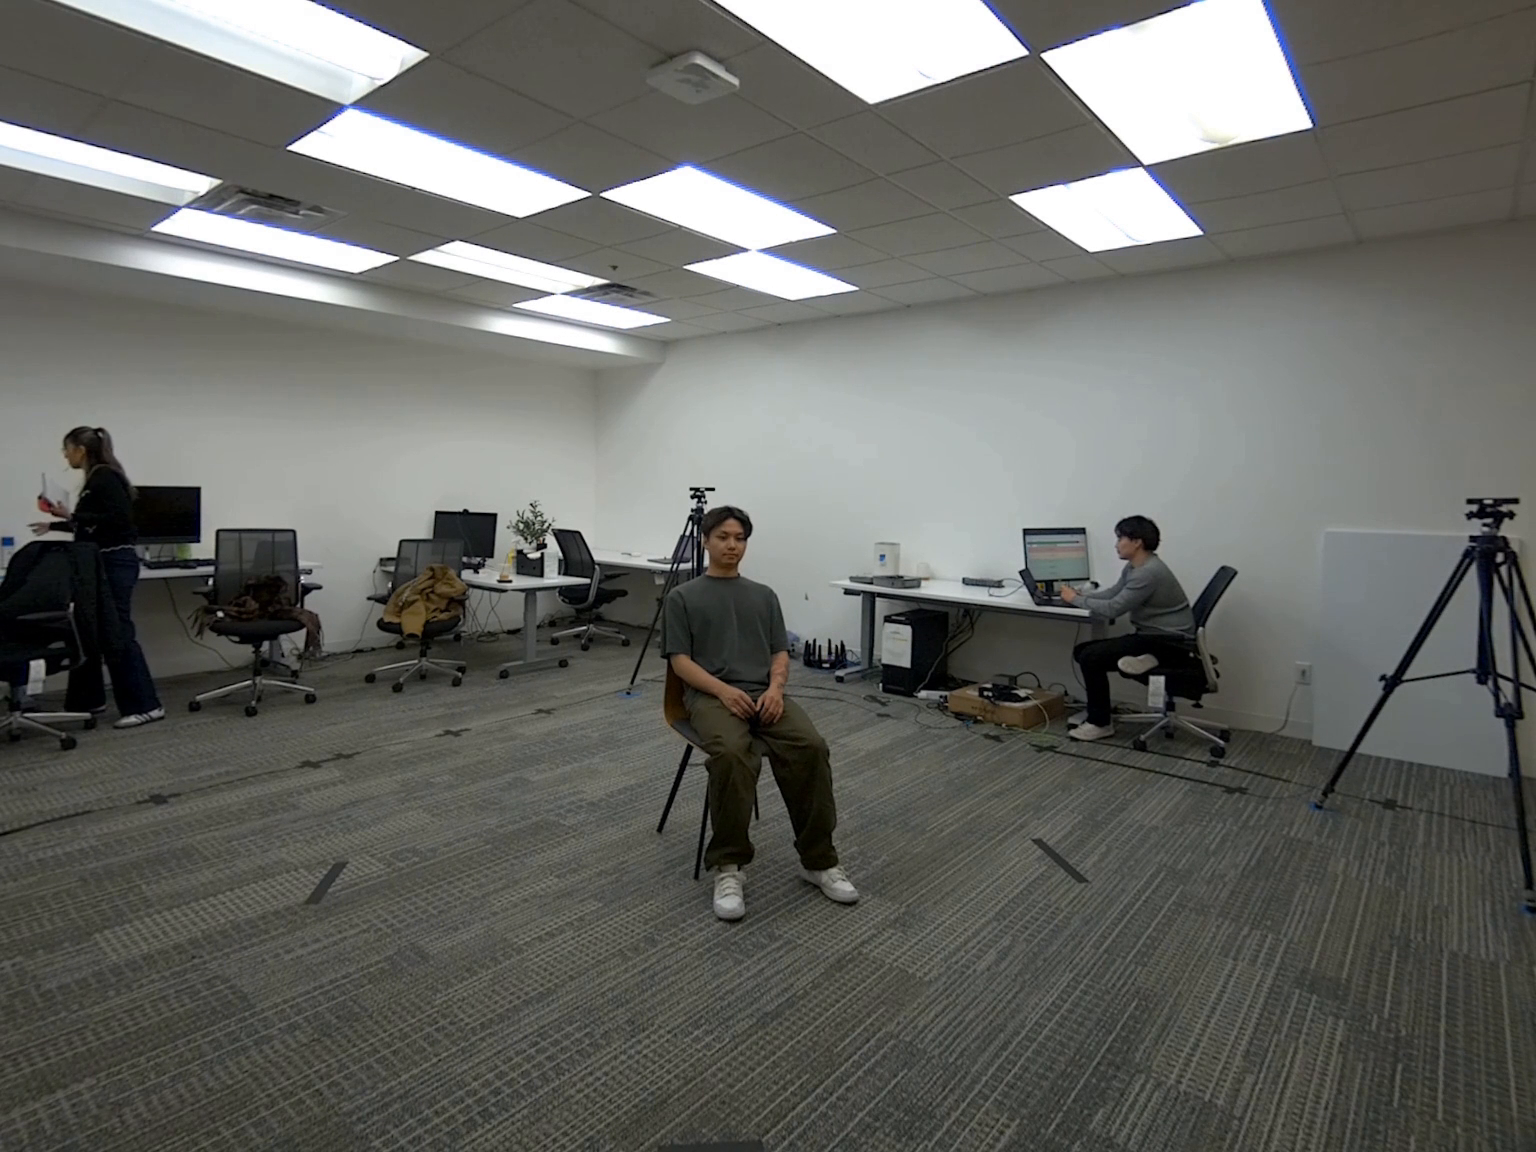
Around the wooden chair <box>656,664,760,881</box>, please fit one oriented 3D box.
[{"bbox_3d":[-0.149,0.617,3.279,0.467,0.878,0.535,0,-1,-24],"label":"wooden chair"}]
